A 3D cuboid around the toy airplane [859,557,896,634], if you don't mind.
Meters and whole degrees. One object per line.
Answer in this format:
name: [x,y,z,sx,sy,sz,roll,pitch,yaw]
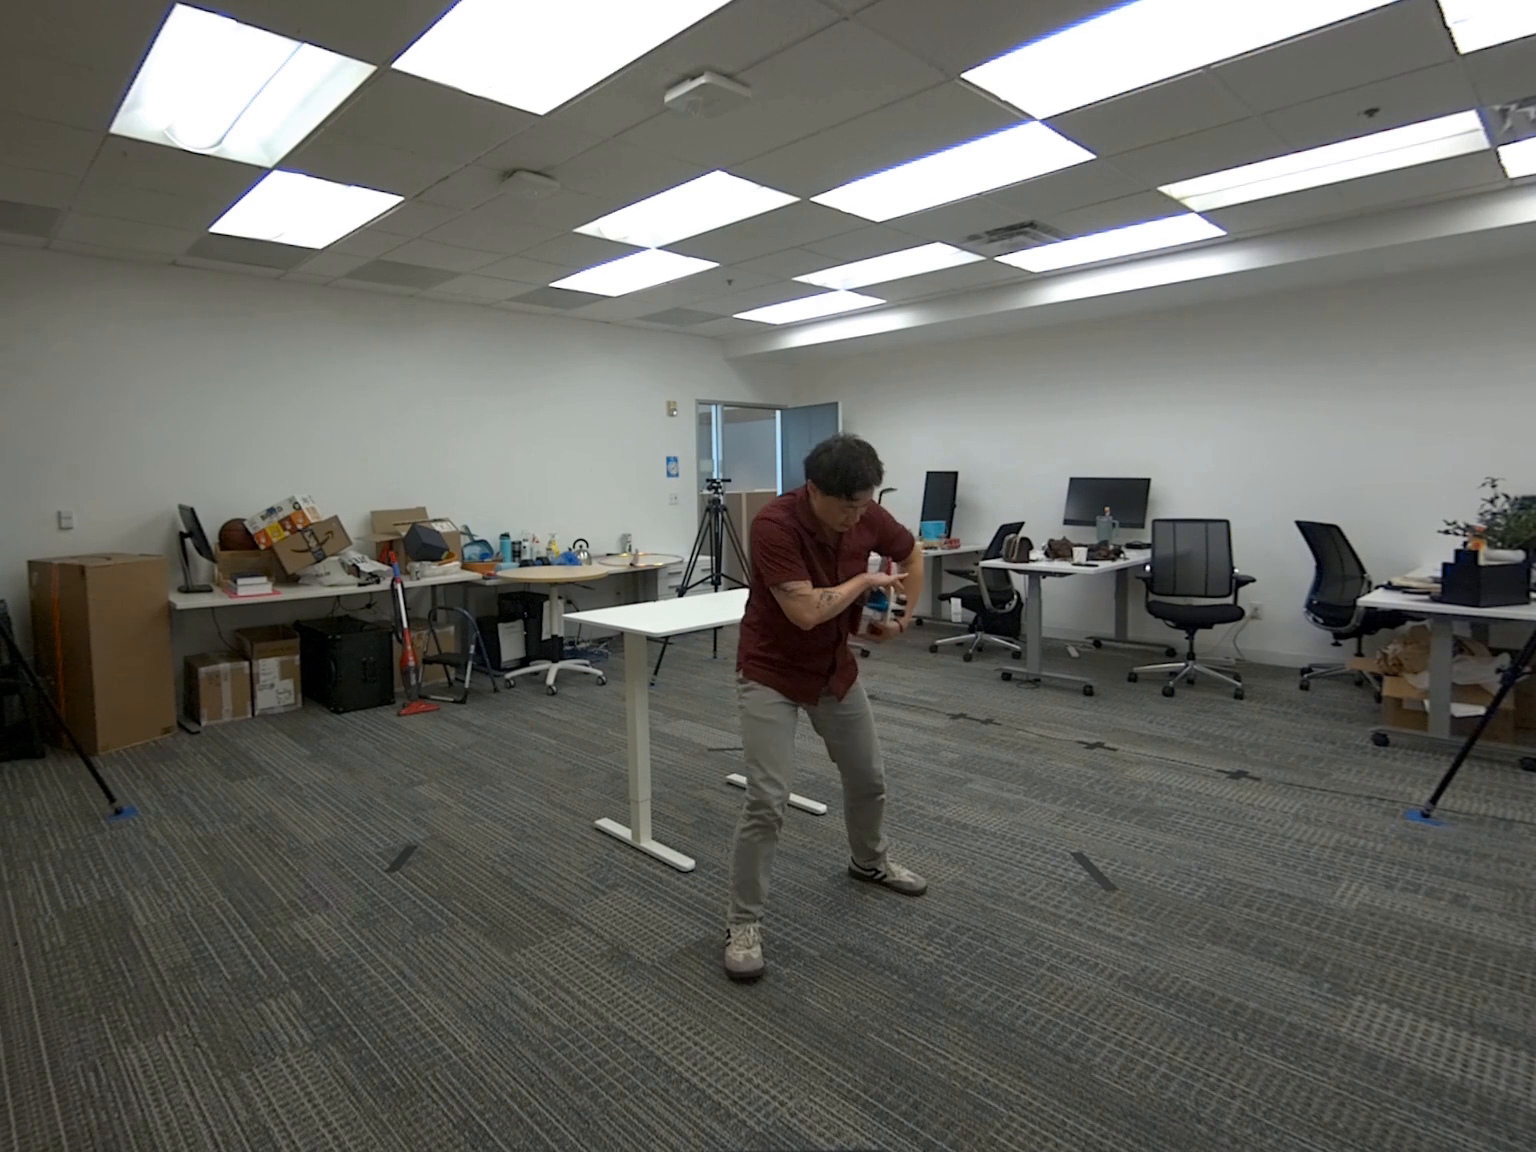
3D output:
toy airplane: [0.345,0.046,2.630,0.157,0.255,0.255,4,-19,1]
